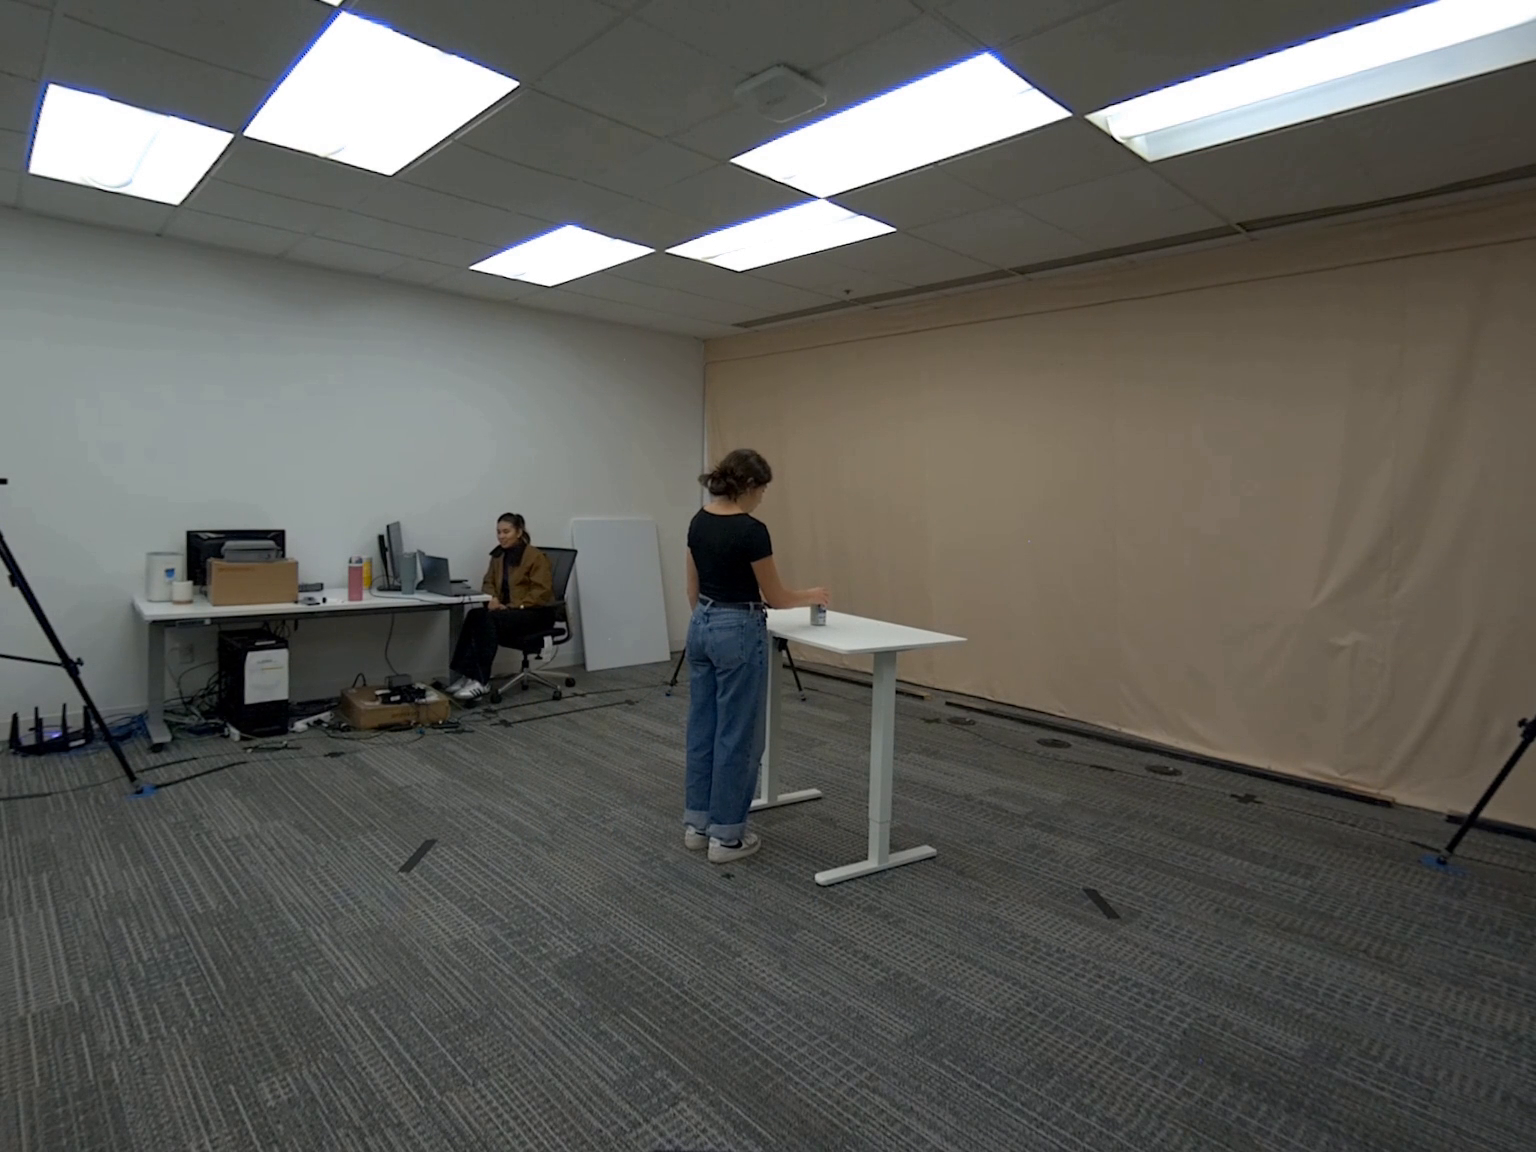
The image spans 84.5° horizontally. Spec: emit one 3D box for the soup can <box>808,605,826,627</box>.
[{"bbox_3d":[0.200,0.139,3.474,0.067,0.121,0.067,2,2,-1],"label":"soup can"}]
